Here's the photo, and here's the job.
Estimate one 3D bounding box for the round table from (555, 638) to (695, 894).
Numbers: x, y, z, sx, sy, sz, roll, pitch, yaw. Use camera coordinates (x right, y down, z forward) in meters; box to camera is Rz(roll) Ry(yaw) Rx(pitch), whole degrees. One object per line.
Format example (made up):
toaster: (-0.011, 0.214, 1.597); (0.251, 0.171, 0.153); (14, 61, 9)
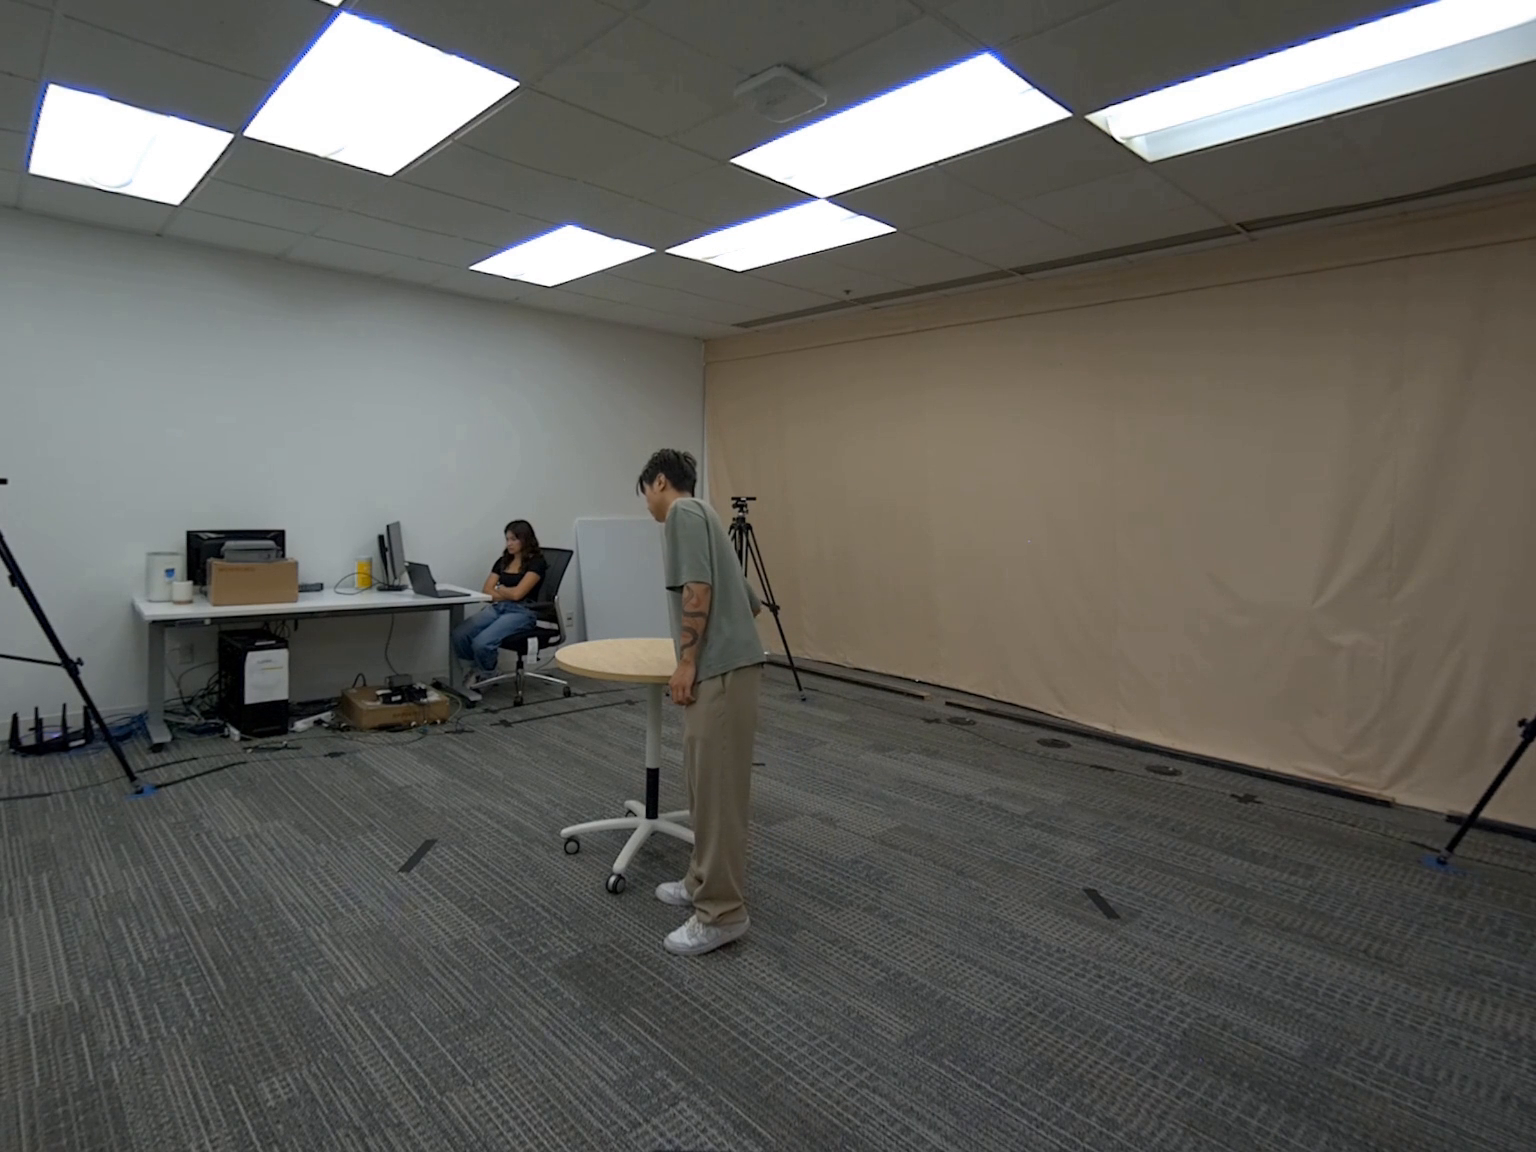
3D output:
round table: (-0.460, 0.697, 3.276); (0.763, 0.792, 0.766); (2, 4, -1)
